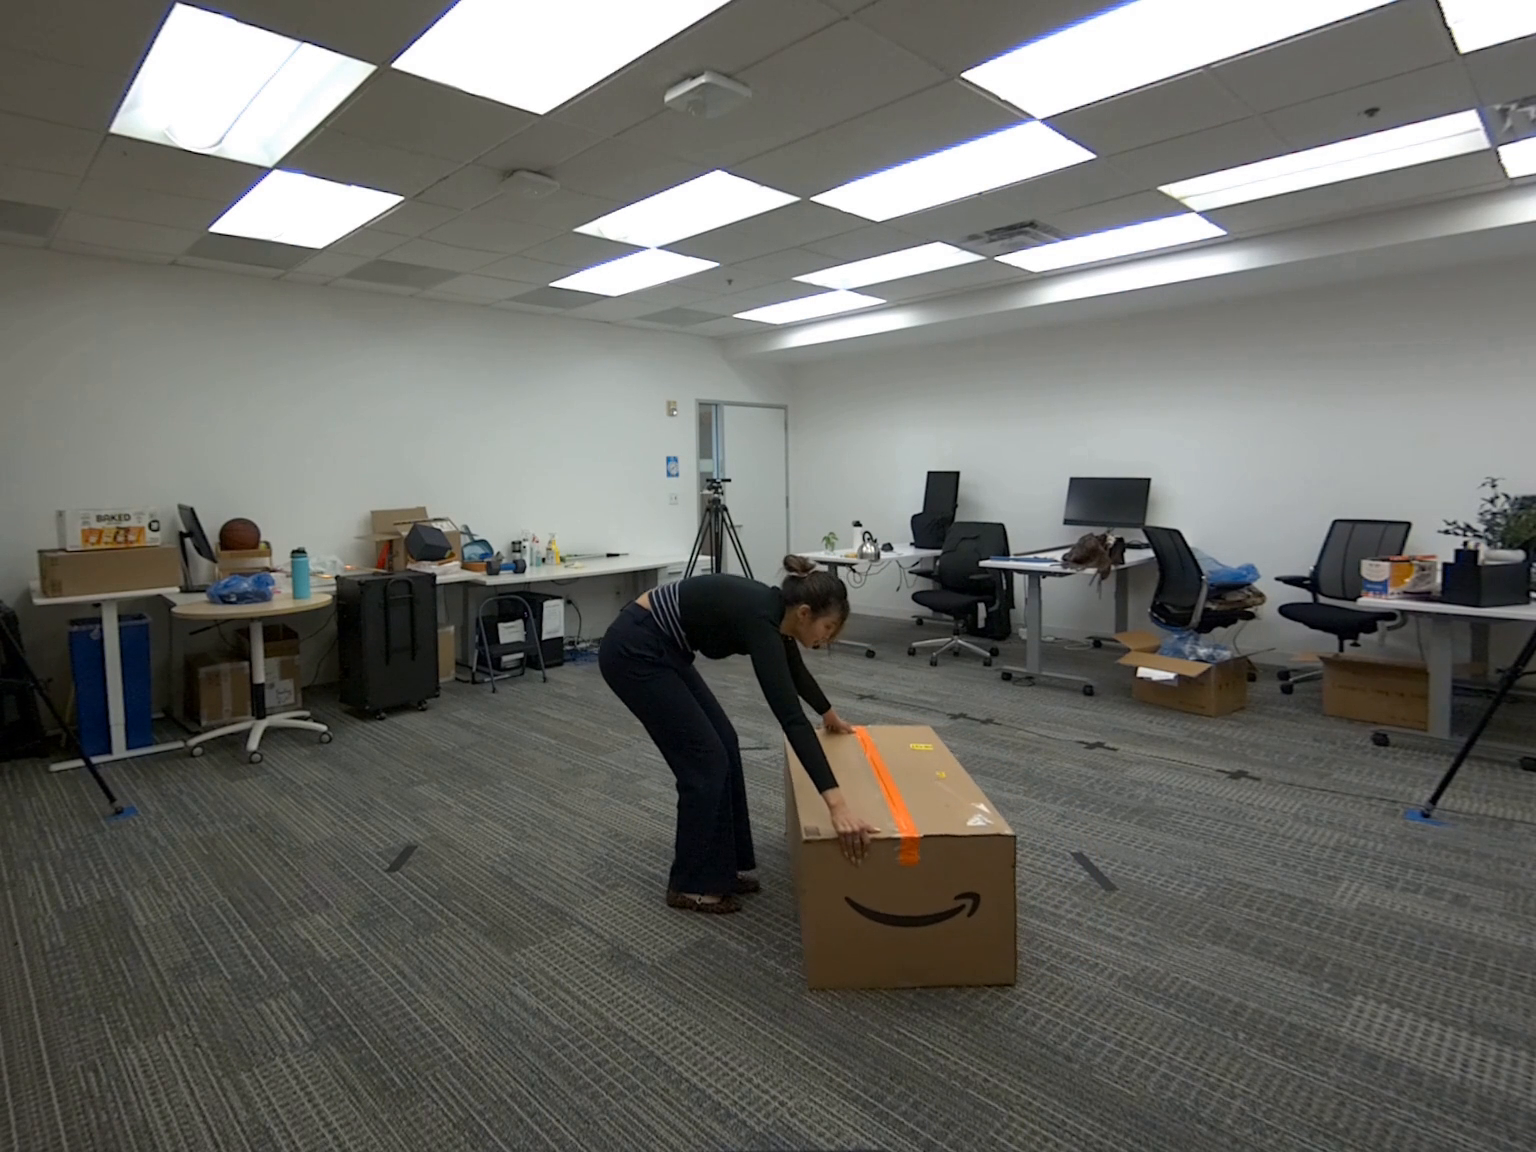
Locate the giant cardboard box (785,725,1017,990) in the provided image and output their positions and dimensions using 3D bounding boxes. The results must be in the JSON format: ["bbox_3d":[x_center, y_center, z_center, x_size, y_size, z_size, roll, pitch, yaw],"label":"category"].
[{"bbox_3d":[0.376,0.852,2.824,0.577,0.424,1.031,-1,6,-2],"label":"giant cardboard box"}]
